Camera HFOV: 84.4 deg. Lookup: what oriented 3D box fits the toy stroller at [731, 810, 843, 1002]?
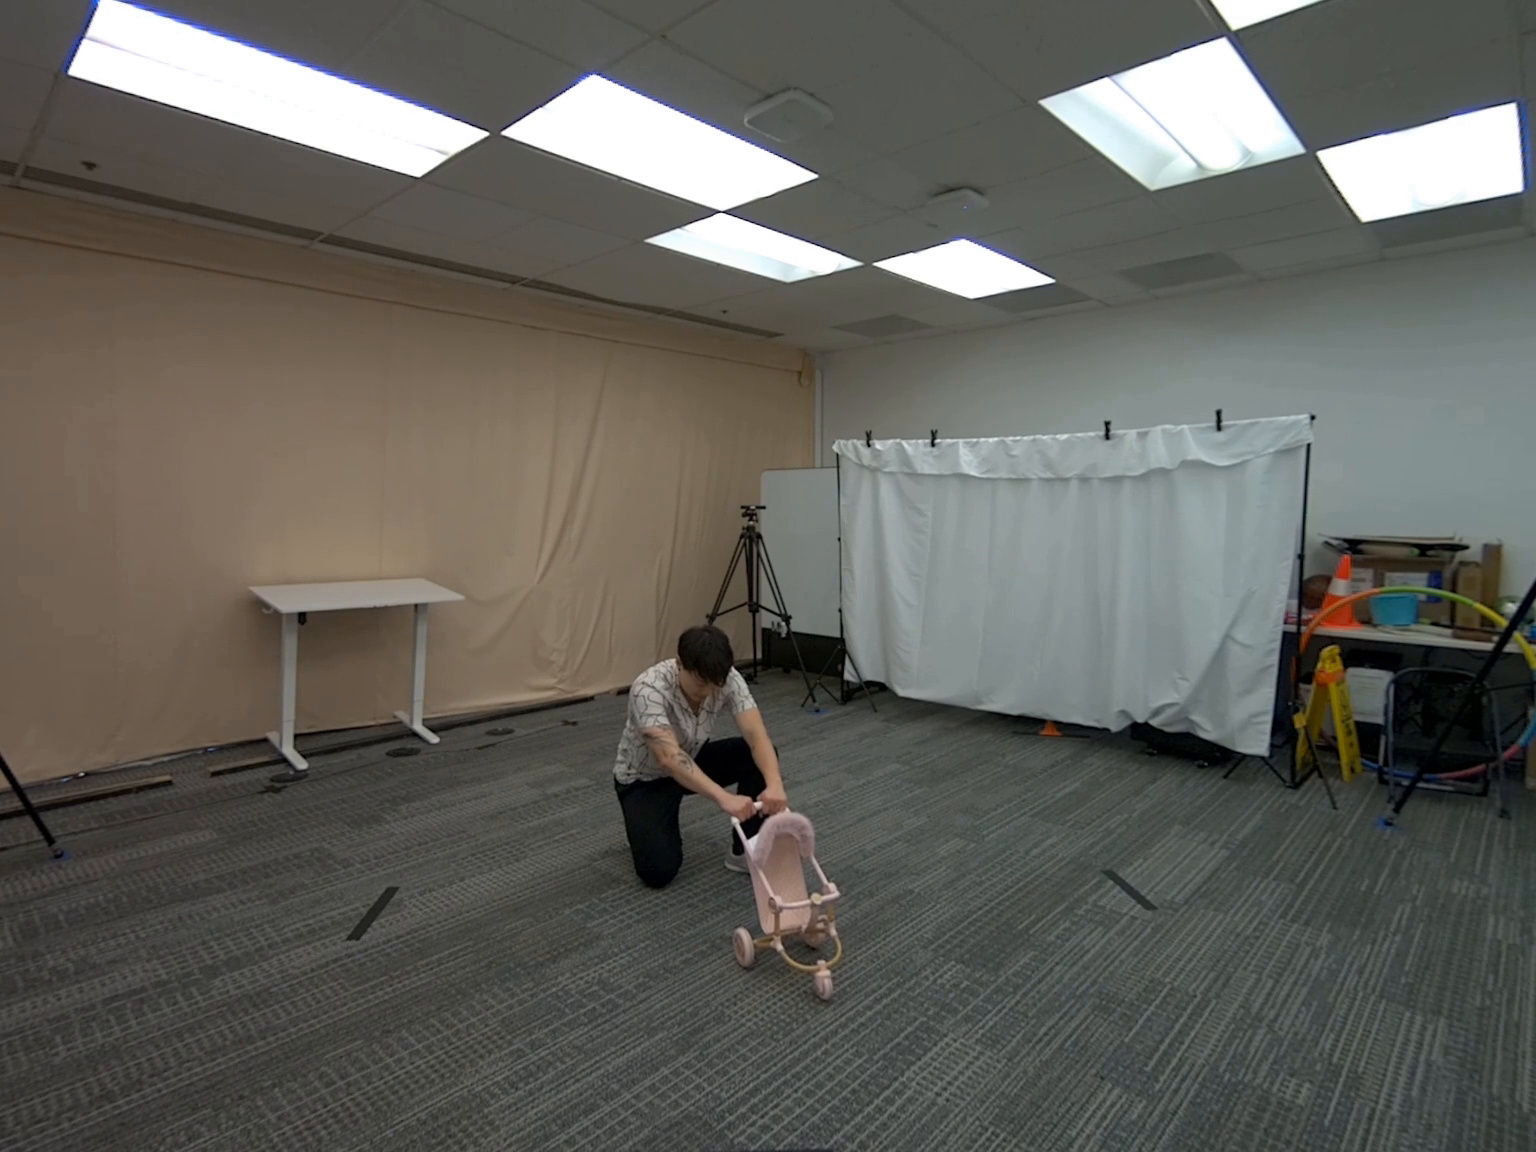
[{"bbox_3d":[0.069,0.955,2.544,0.275,0.540,0.346,-1,-14,-25],"label":"toy stroller"}]
